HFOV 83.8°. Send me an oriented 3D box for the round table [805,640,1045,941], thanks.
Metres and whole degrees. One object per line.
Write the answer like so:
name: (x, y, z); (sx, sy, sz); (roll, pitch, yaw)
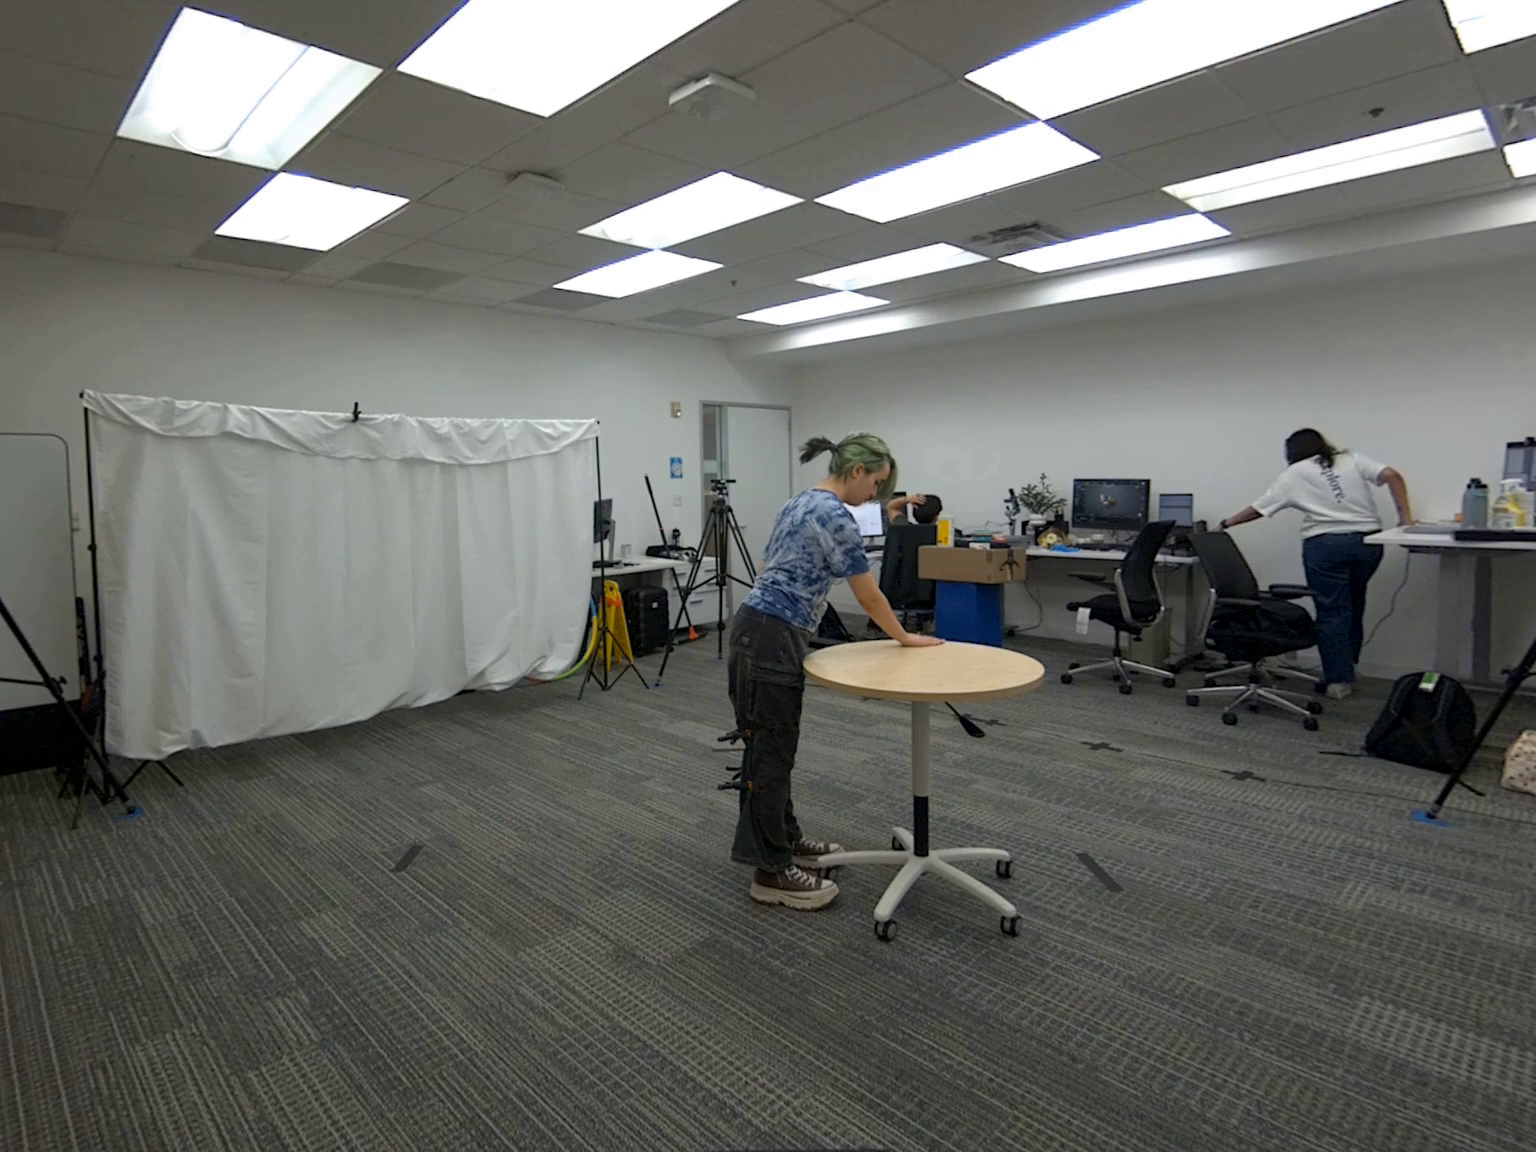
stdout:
round table: (0.496, 0.674, 2.817); (0.784, 0.783, 0.789); (-1, 5, -2)
